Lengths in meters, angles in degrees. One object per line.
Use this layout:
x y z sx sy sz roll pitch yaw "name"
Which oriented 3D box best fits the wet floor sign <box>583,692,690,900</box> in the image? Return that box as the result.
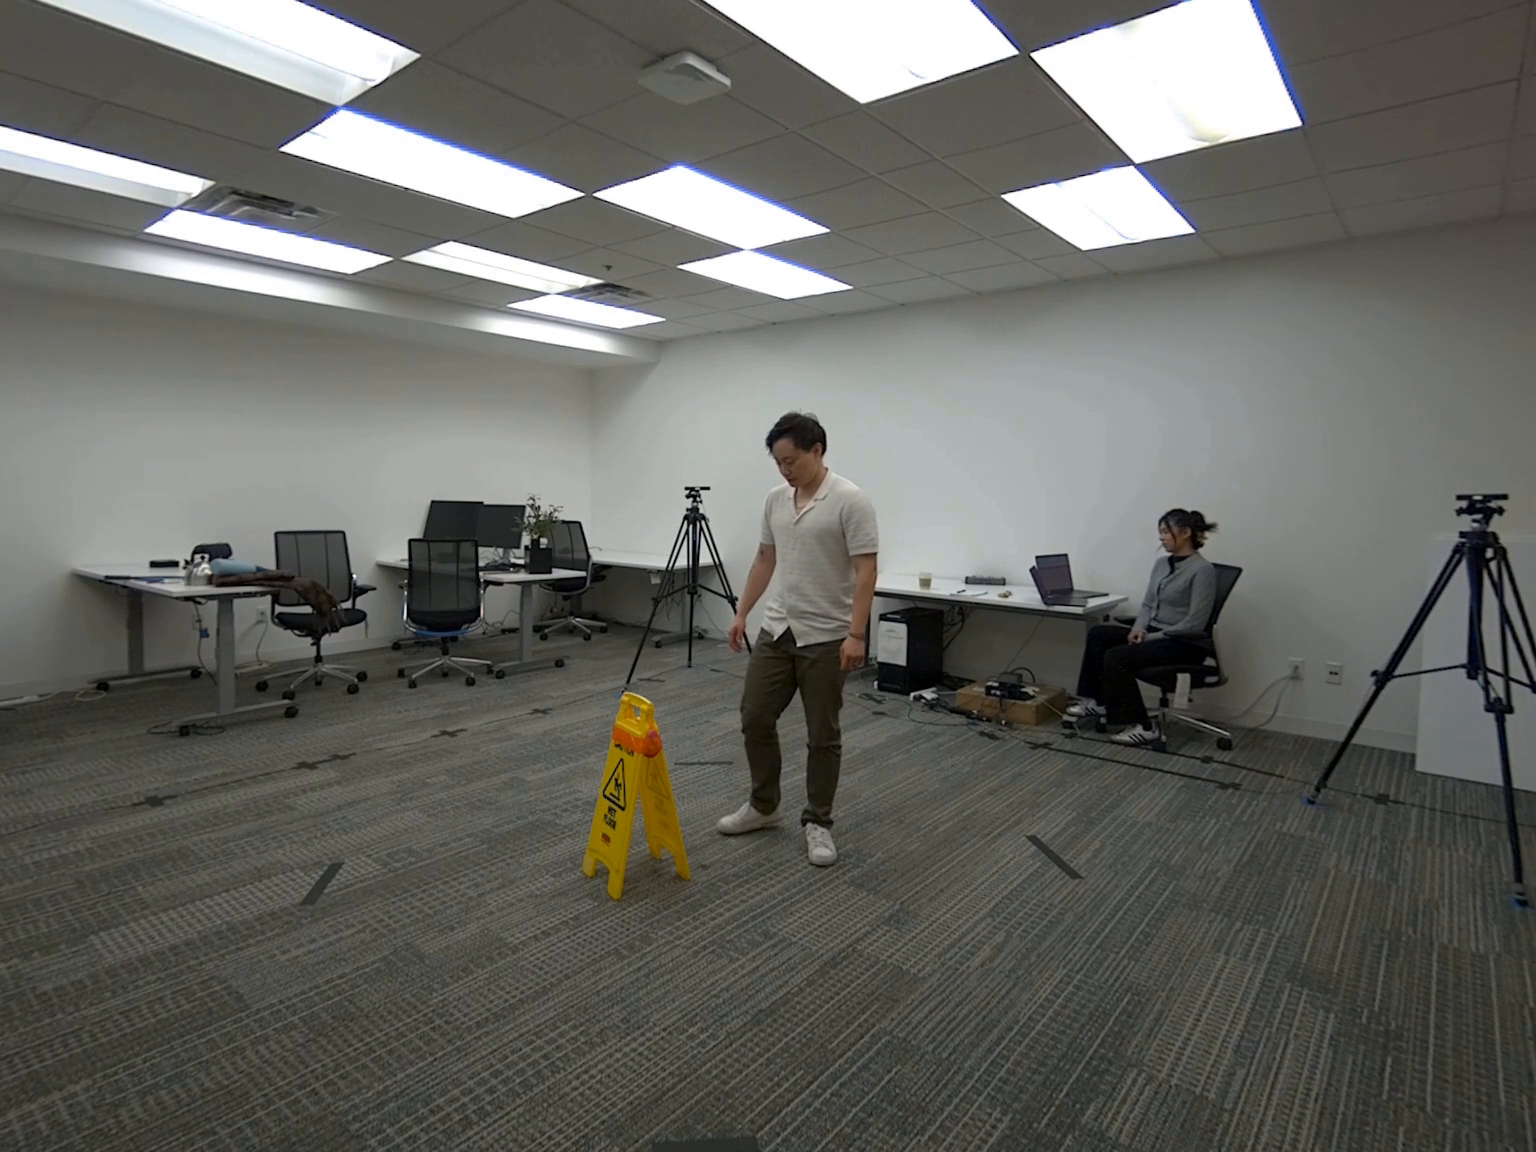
-0.476 0.745 3.027 0.281 0.644 0.291 -1 4 -36 "wet floor sign"
